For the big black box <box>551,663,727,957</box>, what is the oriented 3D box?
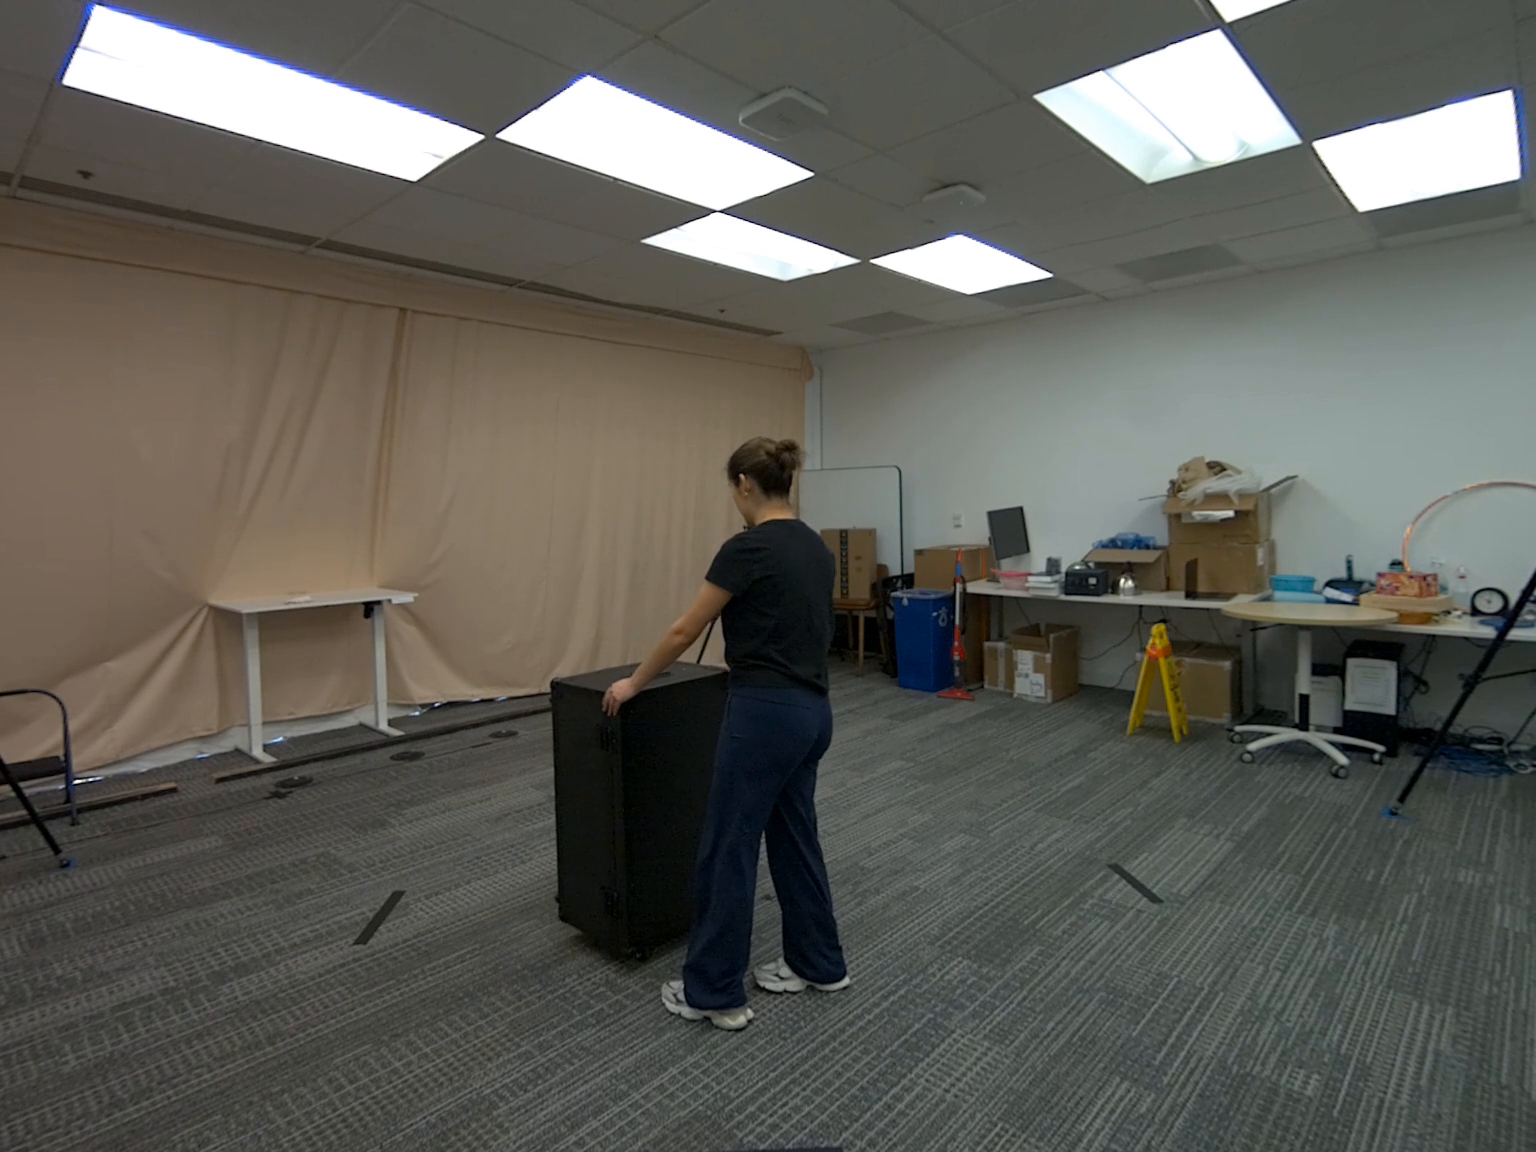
[{"bbox_3d":[-0.392,0.745,2.746,0.409,0.860,0.505,1,3,43],"label":"big black box"}]
